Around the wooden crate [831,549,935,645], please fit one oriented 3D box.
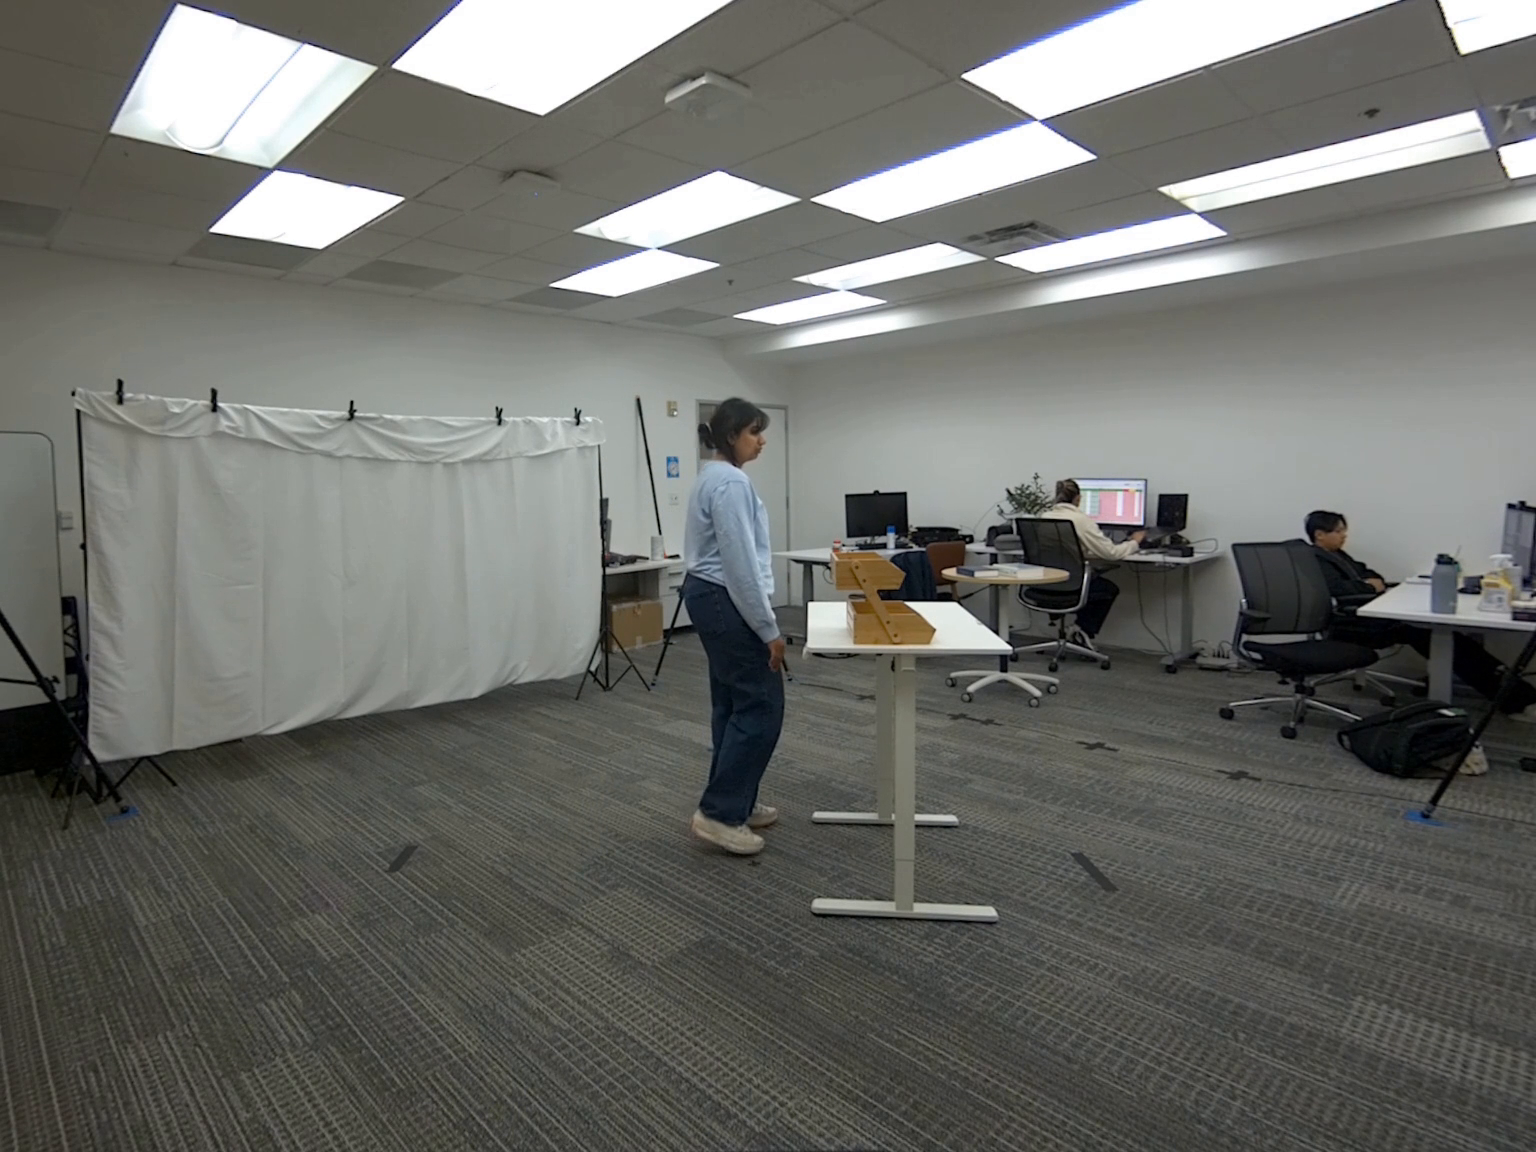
[{"bbox_3d":[0.372,0.060,2.748,0.303,0.272,0.325,-1,5,2],"label":"wooden crate"}]
